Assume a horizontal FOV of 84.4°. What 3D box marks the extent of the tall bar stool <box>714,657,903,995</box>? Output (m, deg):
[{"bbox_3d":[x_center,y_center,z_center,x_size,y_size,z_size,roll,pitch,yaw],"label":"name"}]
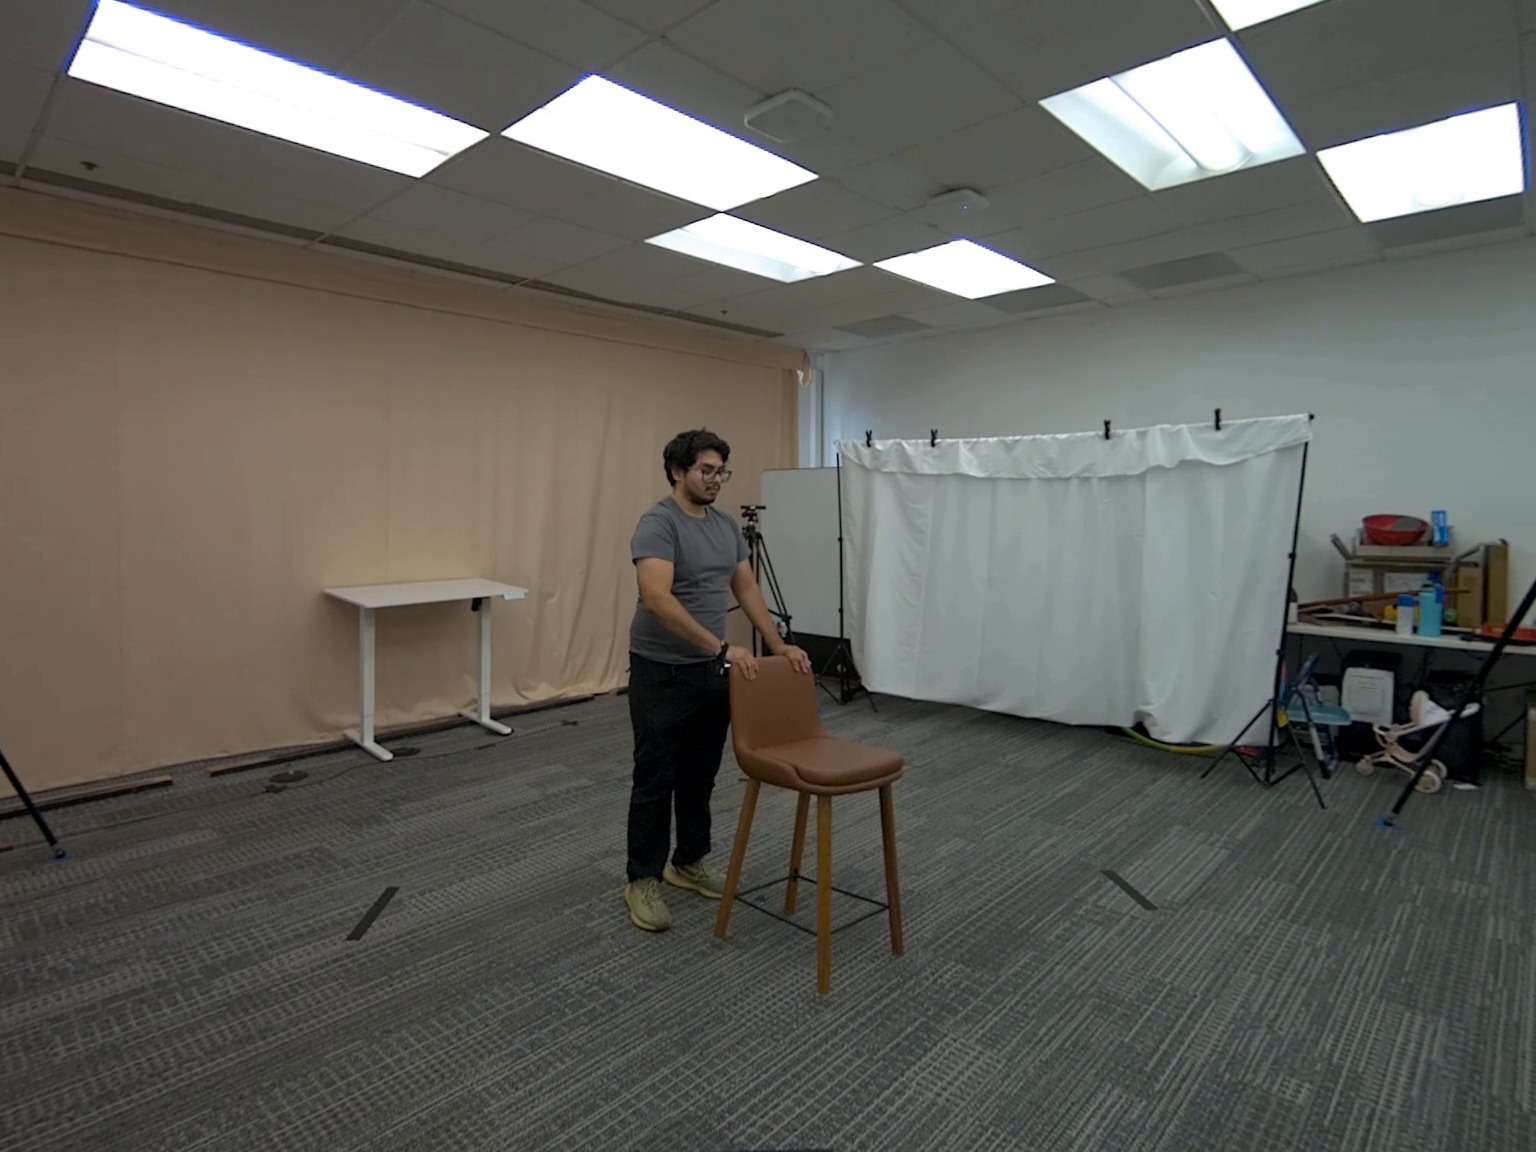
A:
[{"bbox_3d":[0.142,0.722,2.635,0.483,0.891,0.441,0,-2,43],"label":"tall bar stool"}]
